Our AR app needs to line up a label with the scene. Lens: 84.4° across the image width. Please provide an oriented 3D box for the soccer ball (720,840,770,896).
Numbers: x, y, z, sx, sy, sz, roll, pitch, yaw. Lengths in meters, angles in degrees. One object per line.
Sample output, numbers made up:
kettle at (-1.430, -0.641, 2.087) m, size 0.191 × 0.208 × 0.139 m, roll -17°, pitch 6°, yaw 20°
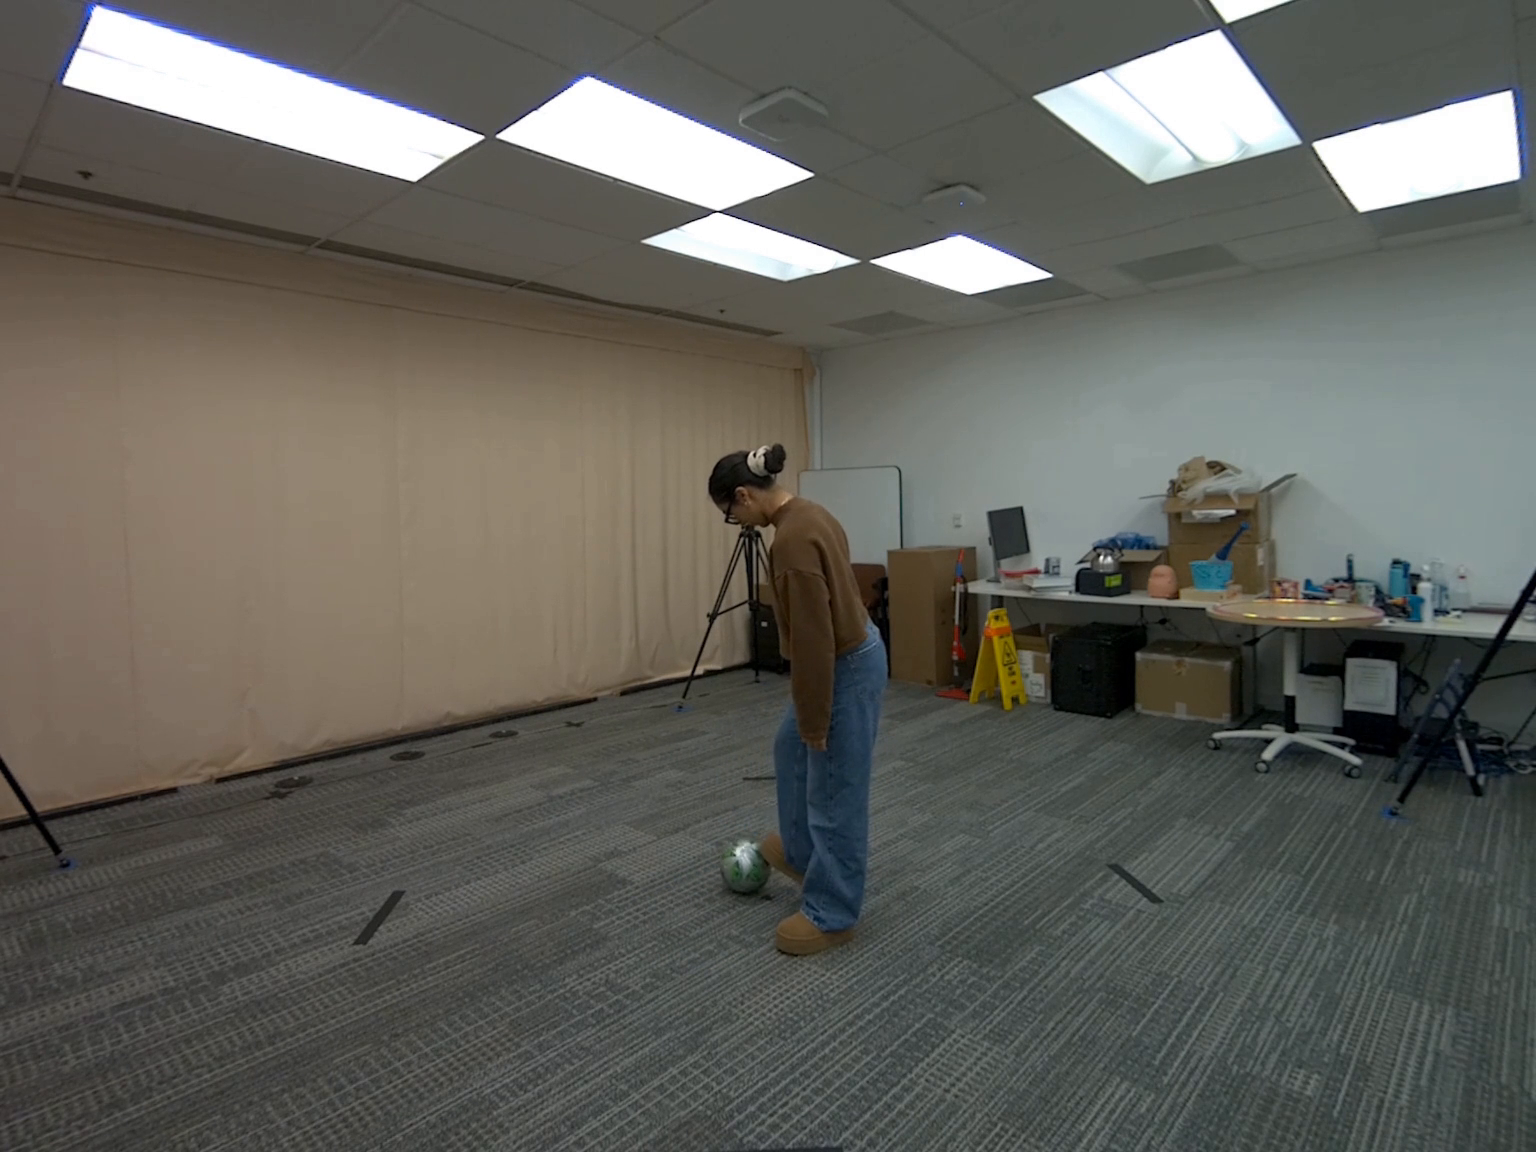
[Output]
soccer ball at (-0.084, 1.050, 3.038) m, size 0.187 × 0.187 × 0.188 m, roll -1°, pitch 4°, yaw -2°
